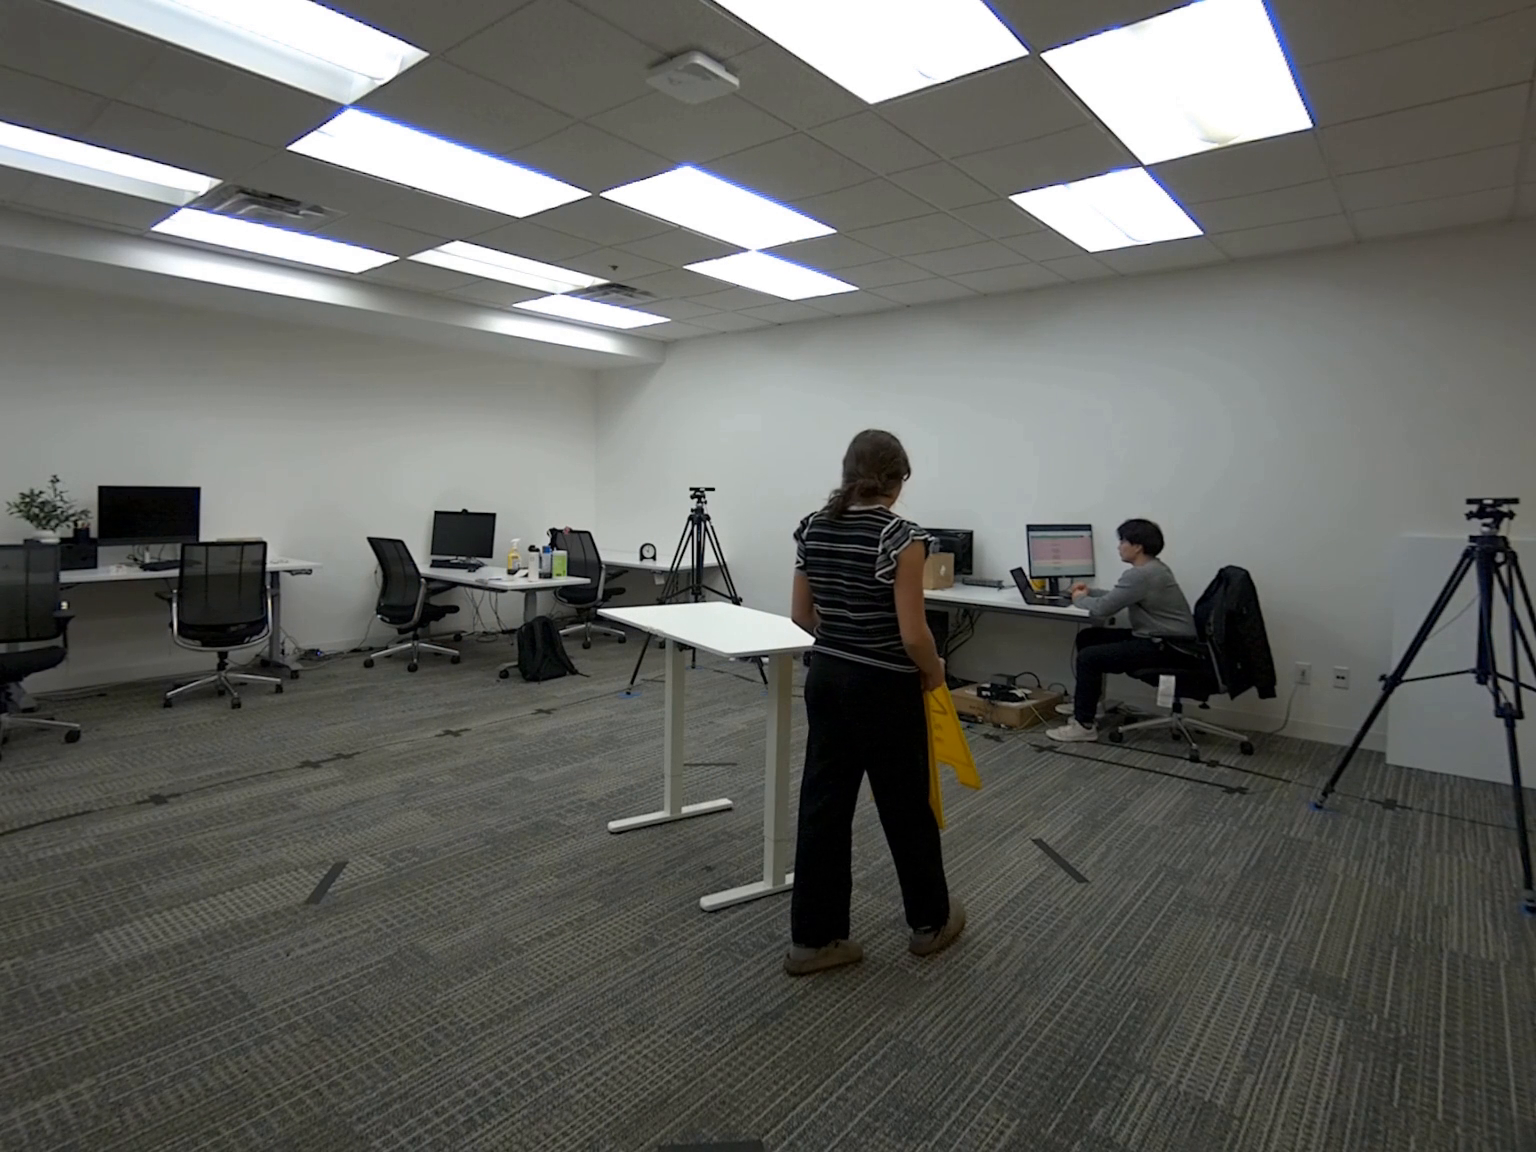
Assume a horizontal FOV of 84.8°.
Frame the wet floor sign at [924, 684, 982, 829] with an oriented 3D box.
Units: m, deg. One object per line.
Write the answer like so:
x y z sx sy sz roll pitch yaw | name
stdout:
0.434 0.417 2.667 0.285 0.634 0.292 -25 21 -38 | wet floor sign
